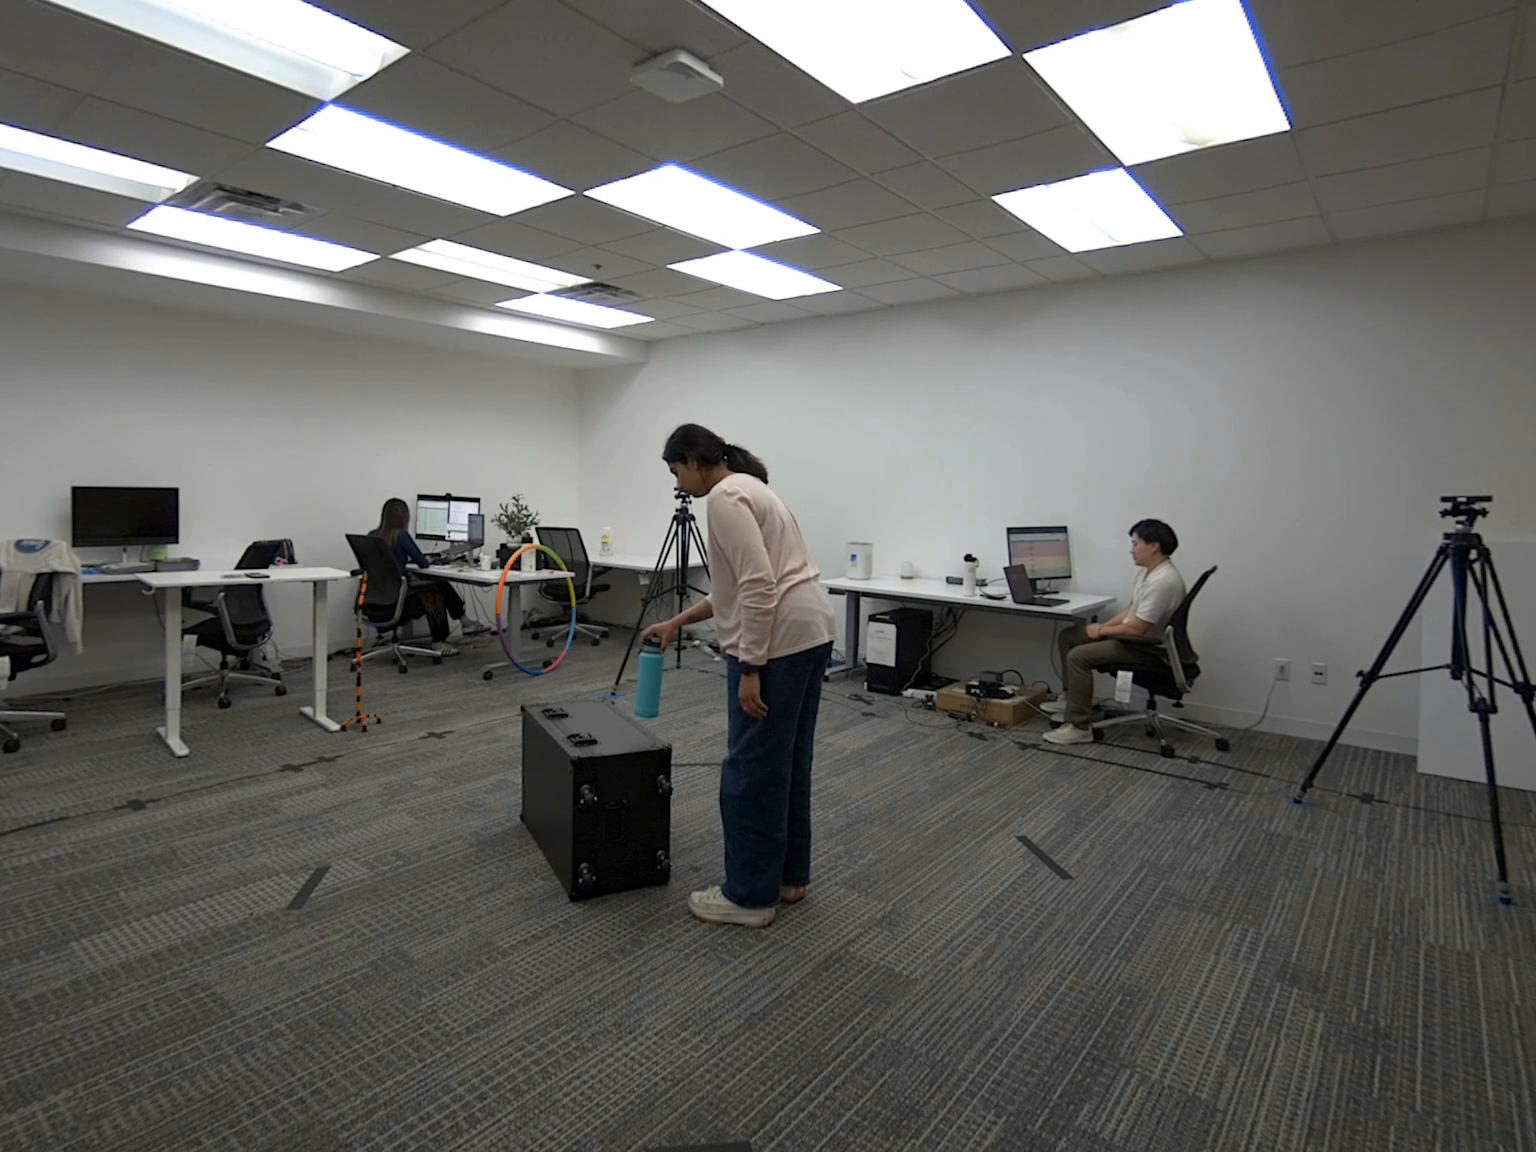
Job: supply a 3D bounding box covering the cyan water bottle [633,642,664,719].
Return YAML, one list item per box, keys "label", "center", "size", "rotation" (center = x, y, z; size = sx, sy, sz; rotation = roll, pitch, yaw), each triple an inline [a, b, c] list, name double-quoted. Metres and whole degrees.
- label: "cyan water bottle"
  center: [-0.438, 0.353, 3.042]
  size: [0.092, 0.283, 0.092]
  rotation: [6, 2, -2]
